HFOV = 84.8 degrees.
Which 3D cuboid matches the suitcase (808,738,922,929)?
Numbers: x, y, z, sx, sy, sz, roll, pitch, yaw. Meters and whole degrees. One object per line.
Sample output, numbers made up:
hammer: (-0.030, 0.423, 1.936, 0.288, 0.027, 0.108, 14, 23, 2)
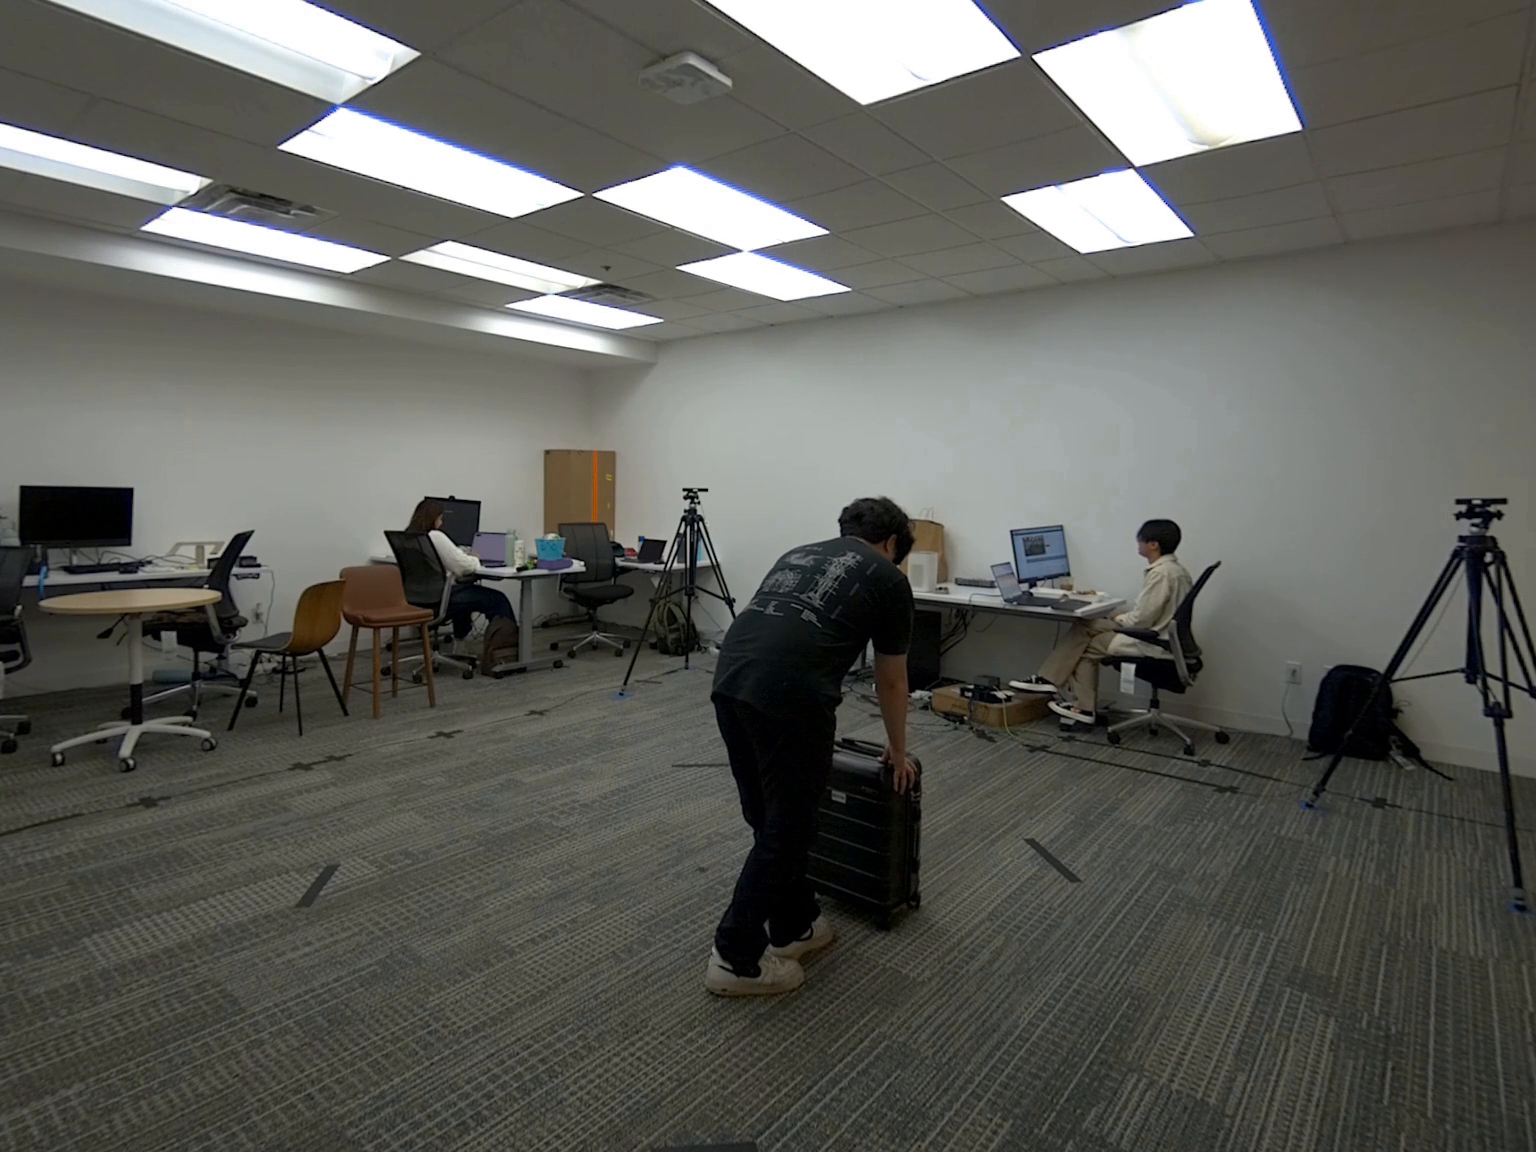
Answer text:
suitcase: (0.310, 0.833, 2.846, 0.388, 0.546, 0.241, 5, 7, 37)
